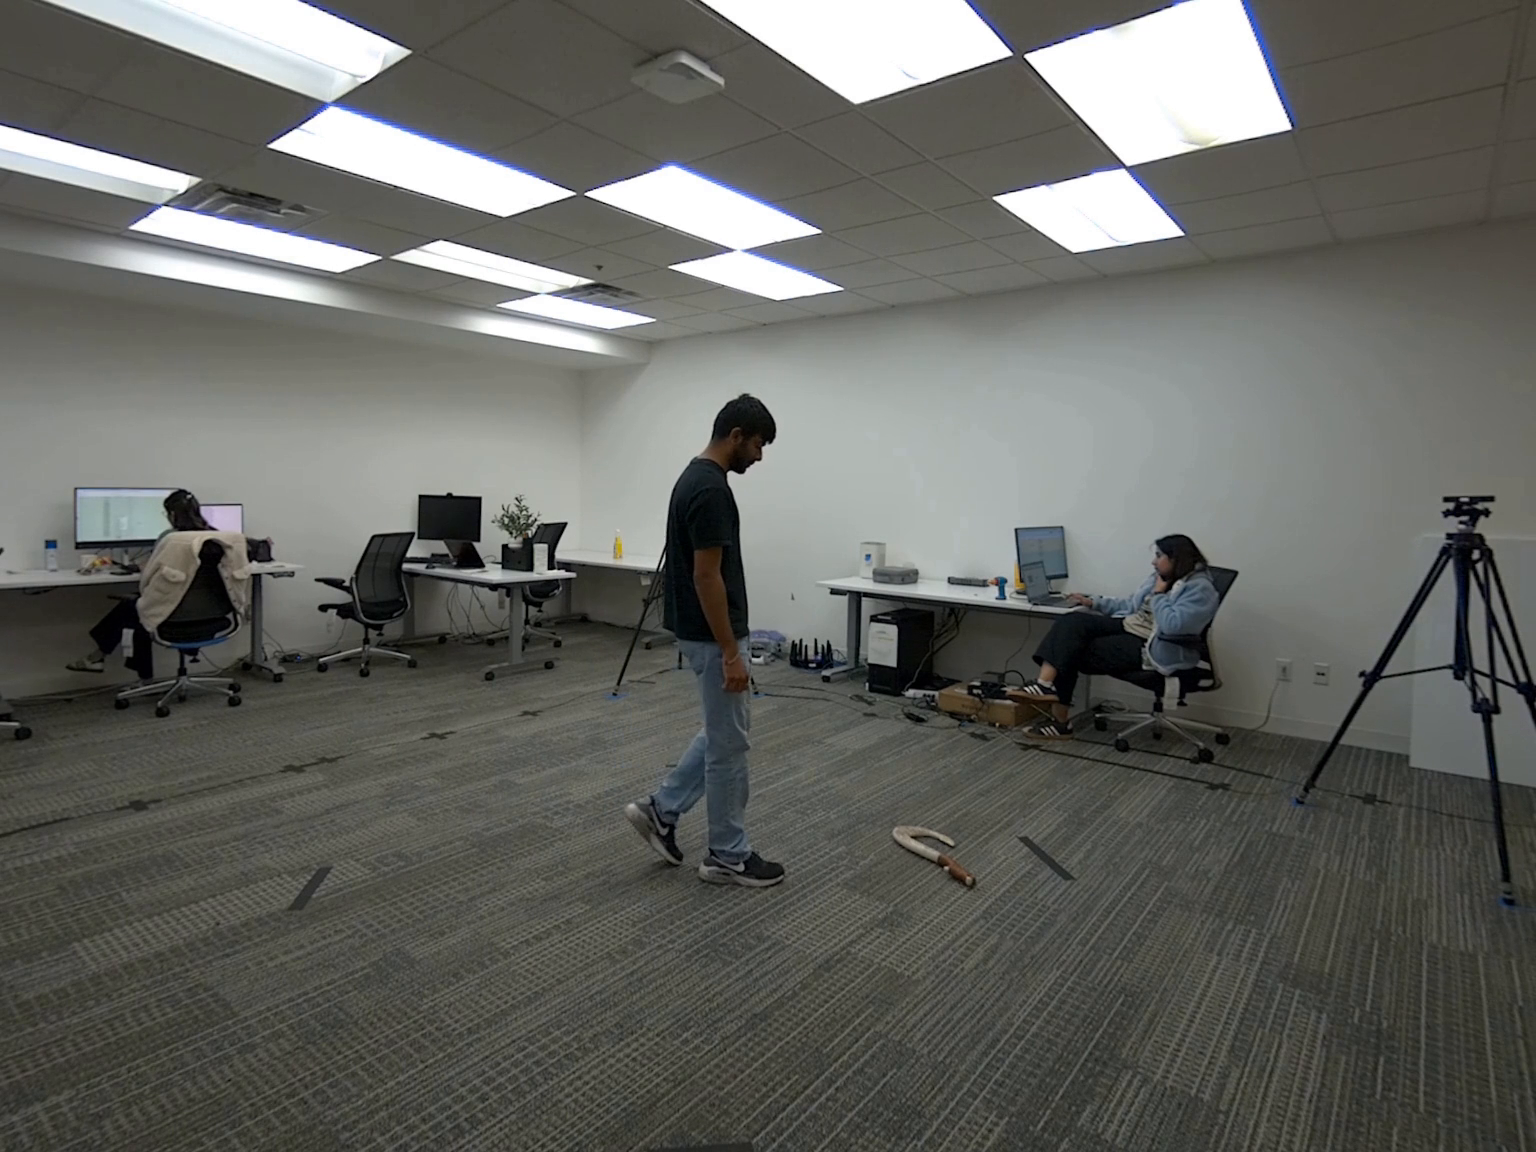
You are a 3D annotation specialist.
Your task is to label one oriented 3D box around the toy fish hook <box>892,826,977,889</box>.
[{"bbox_3d":[0.668,1.051,3.249,0.220,0.048,0.520,-3,7,-24],"label":"toy fish hook"}]
